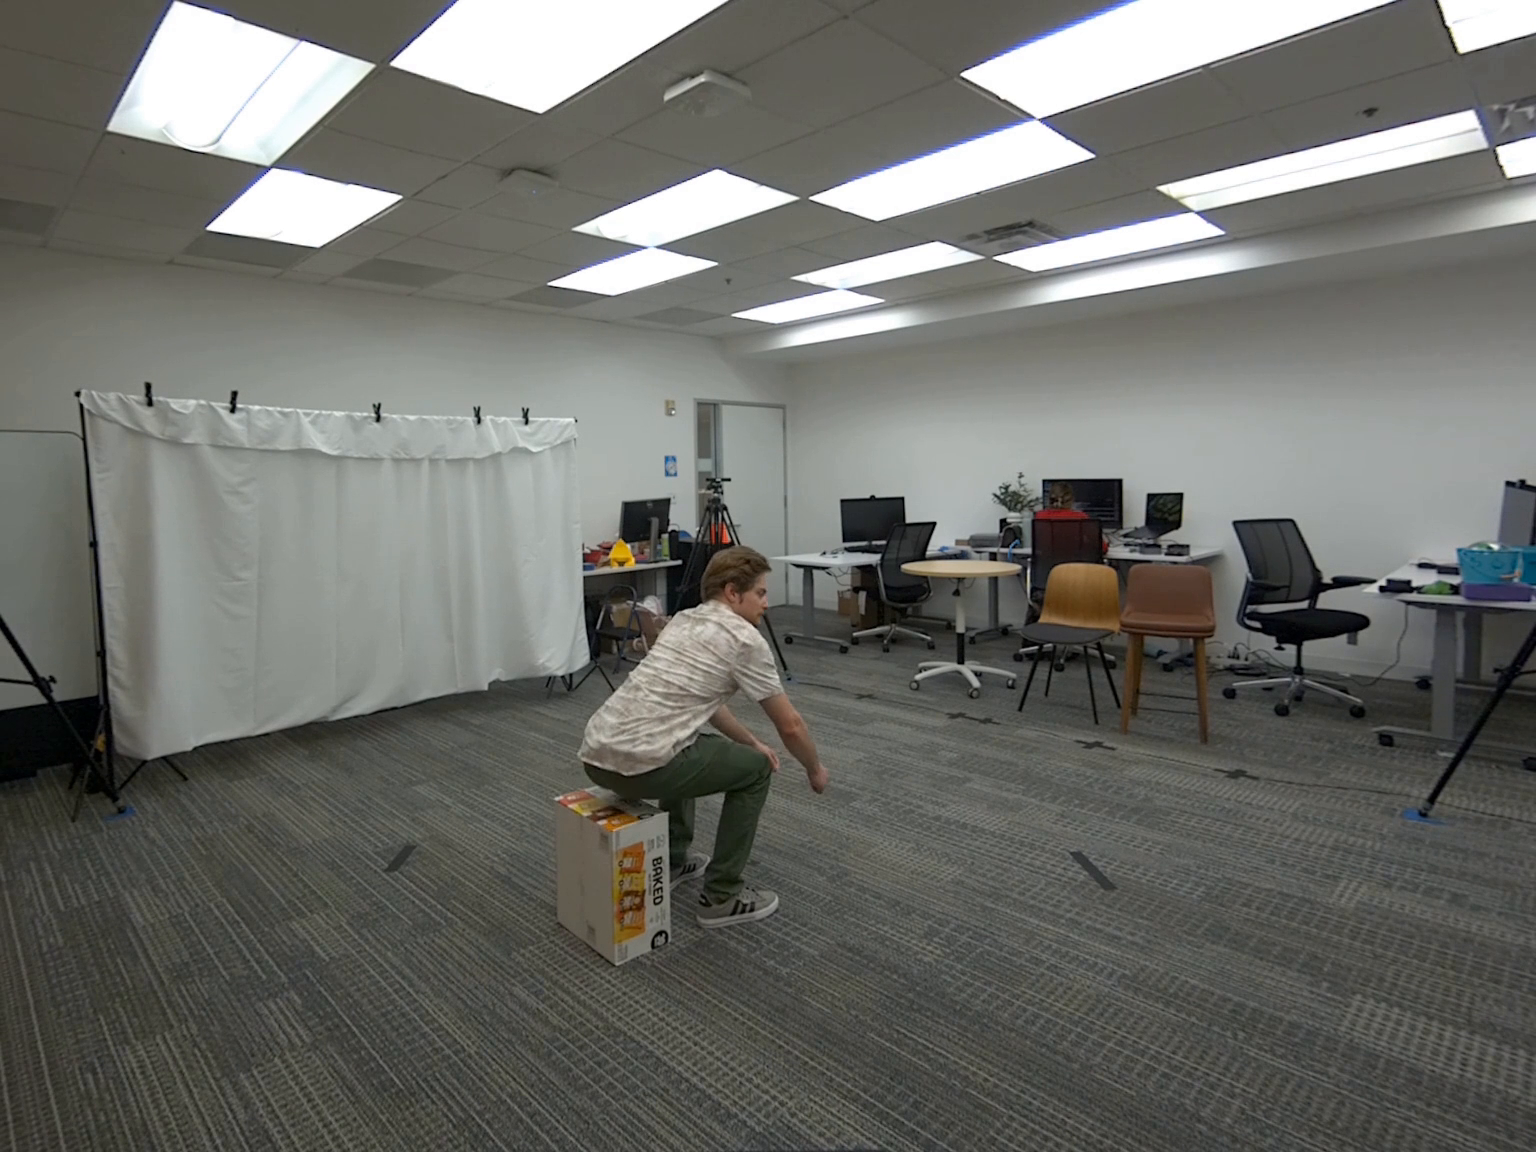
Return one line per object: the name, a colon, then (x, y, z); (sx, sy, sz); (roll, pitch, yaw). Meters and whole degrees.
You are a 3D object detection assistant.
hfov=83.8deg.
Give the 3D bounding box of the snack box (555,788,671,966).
snack box: (-0.483, 0.906, 2.636); (0.200, 0.403, 0.351); (-4, 6, -42)
